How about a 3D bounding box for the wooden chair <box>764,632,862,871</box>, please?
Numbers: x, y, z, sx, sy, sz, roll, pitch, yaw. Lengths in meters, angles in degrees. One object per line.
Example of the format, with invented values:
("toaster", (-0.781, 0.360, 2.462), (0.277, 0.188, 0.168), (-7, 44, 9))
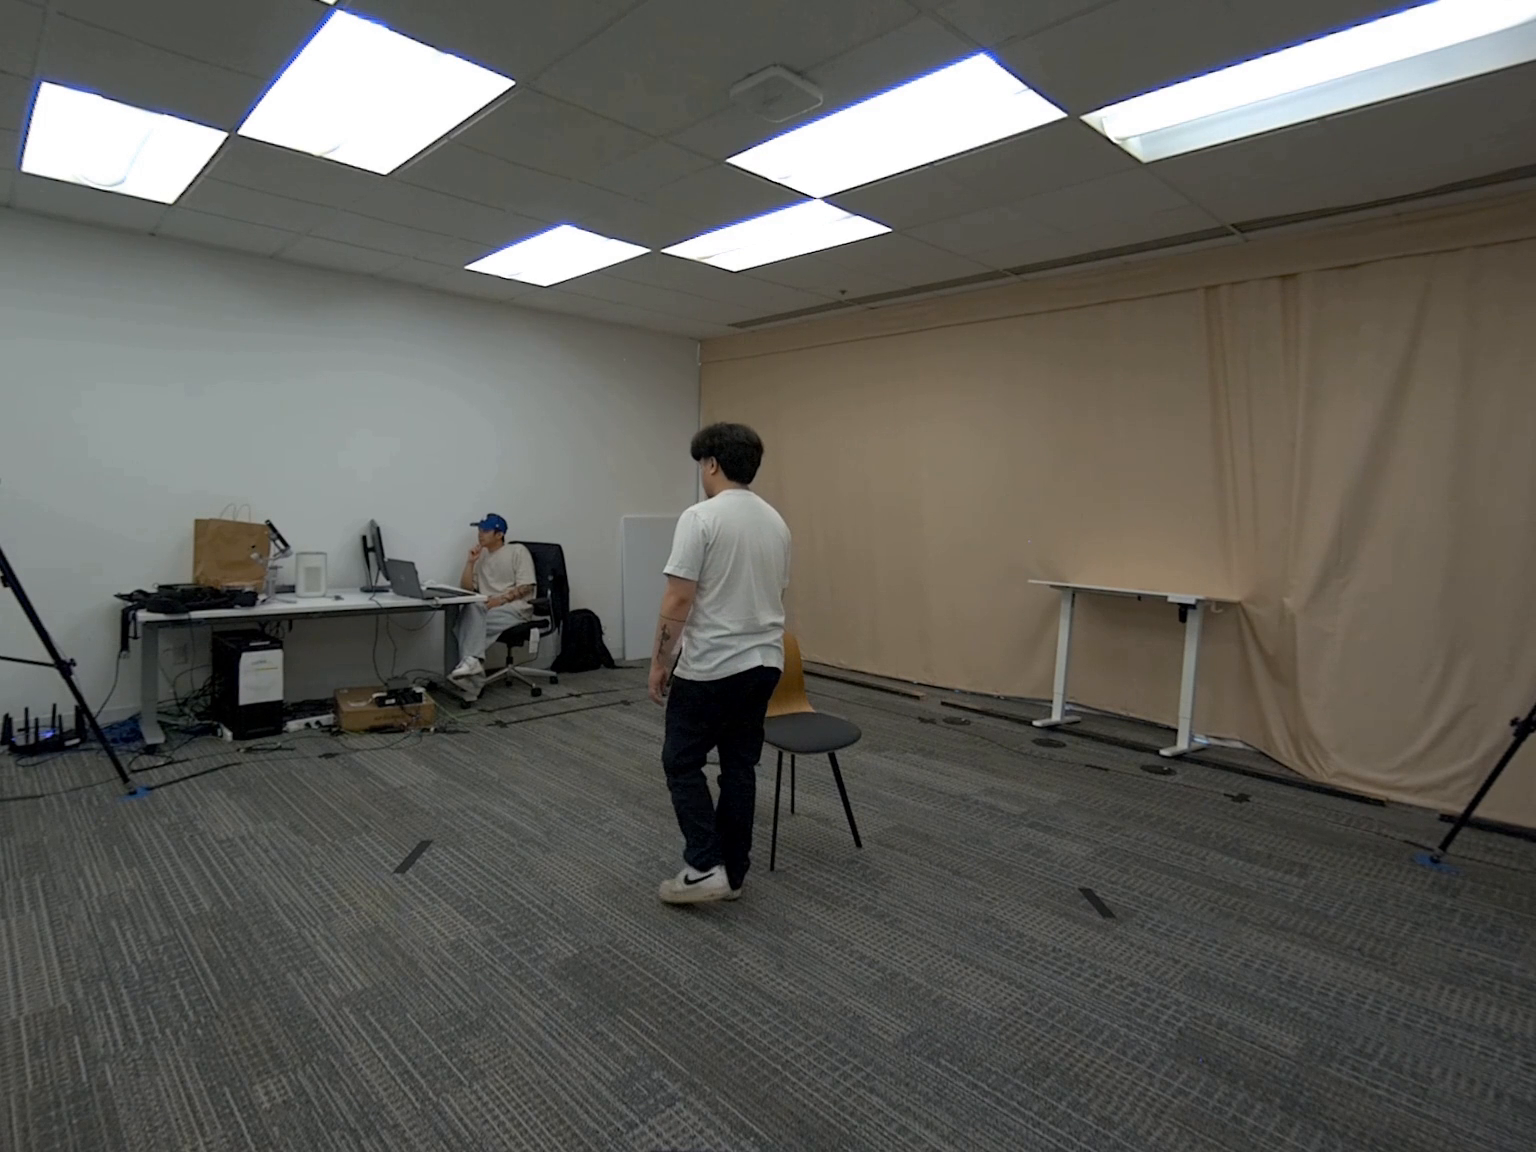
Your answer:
("wooden chair", (0.077, 0.659, 3.426), (0.467, 0.878, 0.534), (0, -1, -35))
